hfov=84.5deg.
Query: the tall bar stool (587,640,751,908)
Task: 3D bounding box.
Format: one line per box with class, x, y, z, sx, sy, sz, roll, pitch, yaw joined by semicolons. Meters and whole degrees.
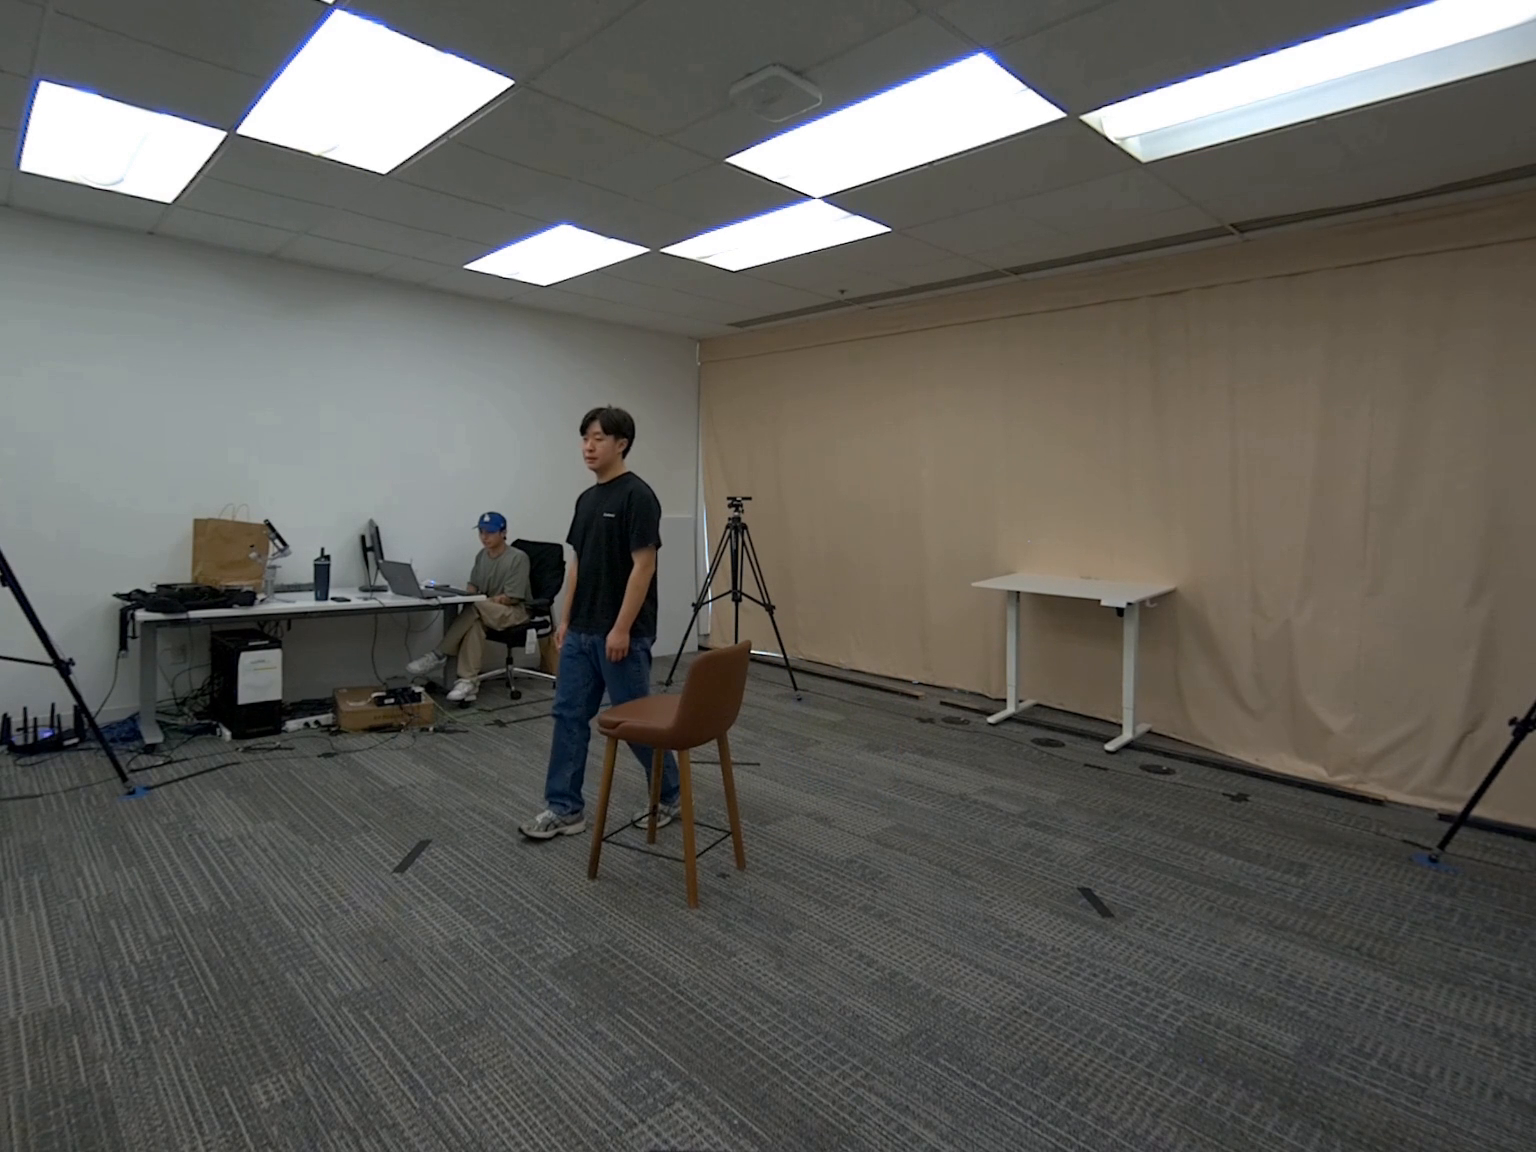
tall bar stool;-0.354;0.670;3.088;0.478;0.887;0.448;5;5;29
